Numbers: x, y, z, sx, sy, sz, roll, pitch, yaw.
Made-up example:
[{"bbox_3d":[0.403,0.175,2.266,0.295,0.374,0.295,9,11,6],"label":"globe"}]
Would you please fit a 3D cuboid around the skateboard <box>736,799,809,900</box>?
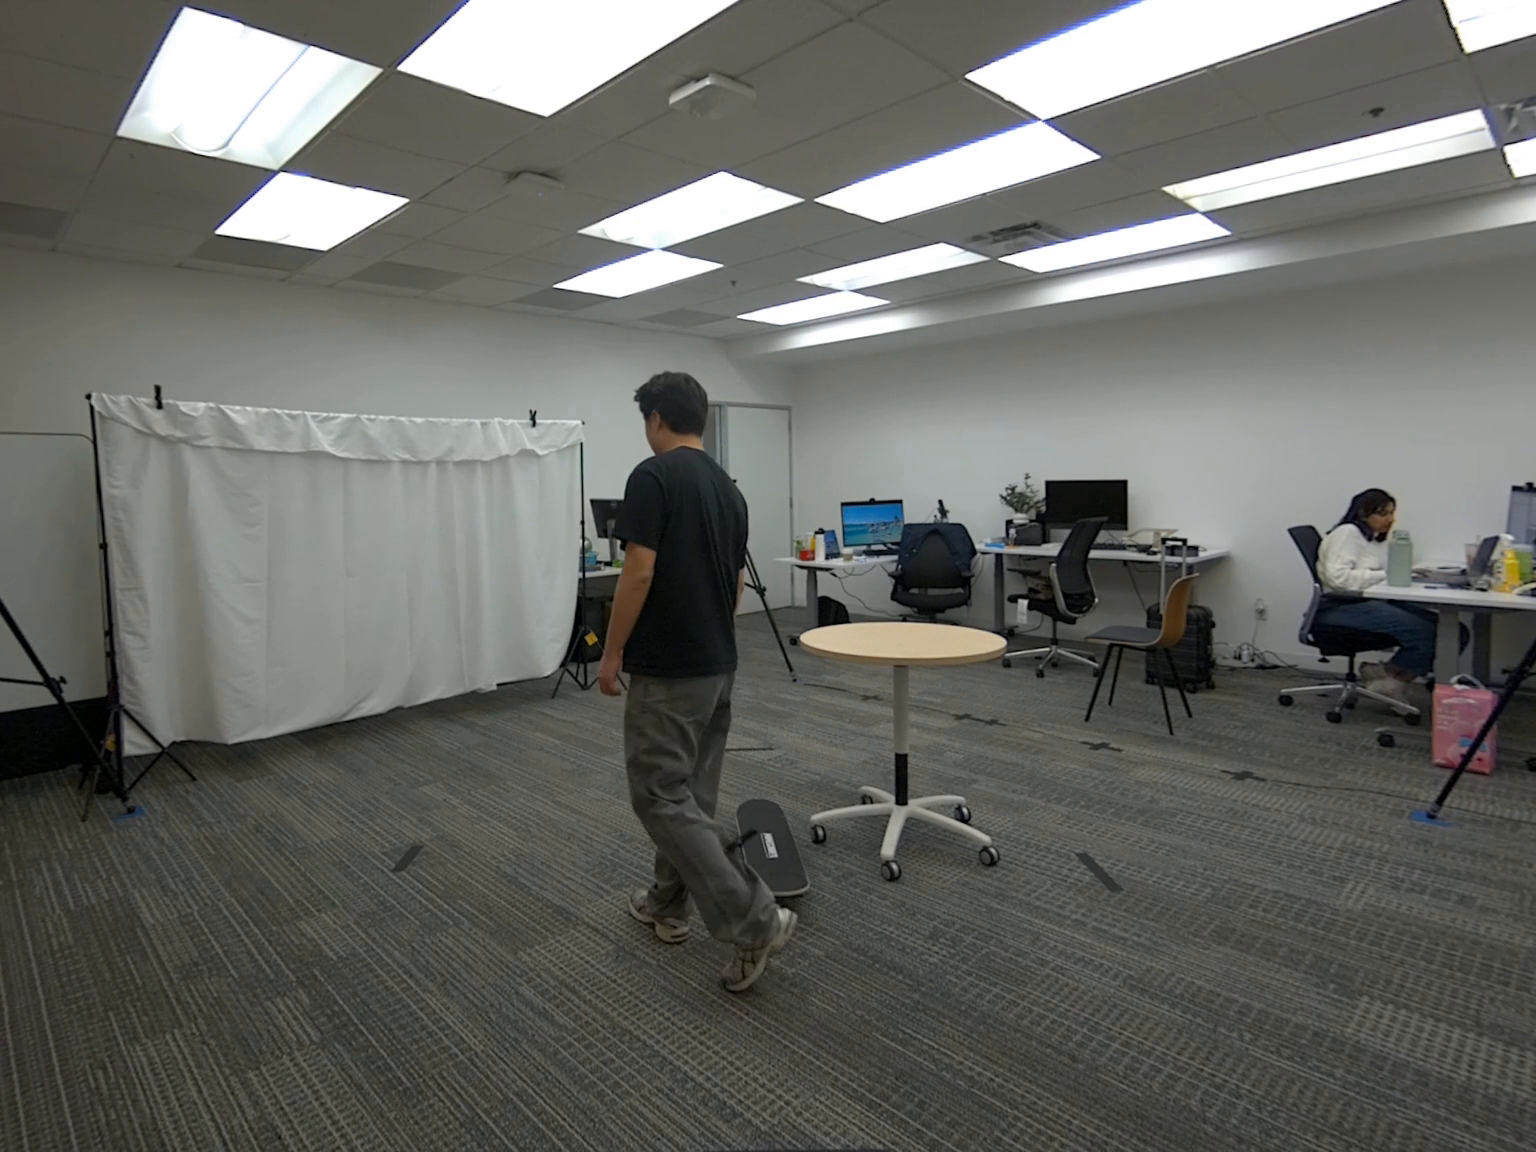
[{"bbox_3d":[0.006,0.994,3.055,0.192,0.110,0.793,-1,6,-7],"label":"skateboard"}]
